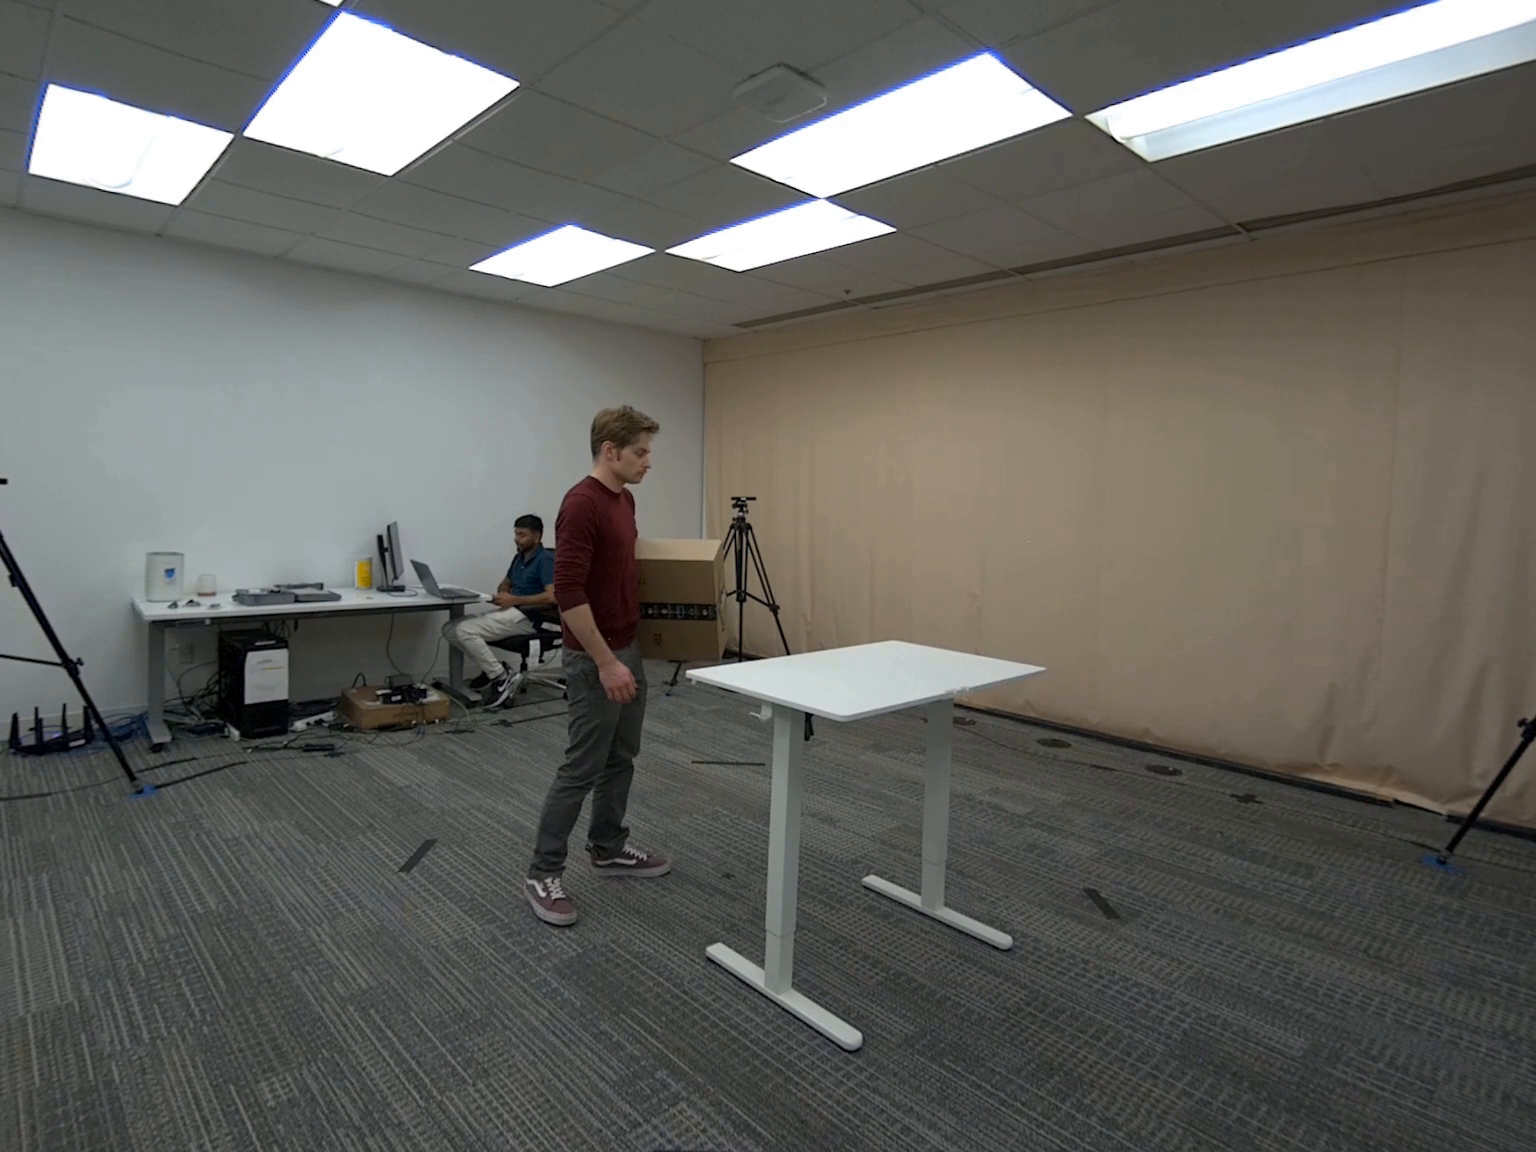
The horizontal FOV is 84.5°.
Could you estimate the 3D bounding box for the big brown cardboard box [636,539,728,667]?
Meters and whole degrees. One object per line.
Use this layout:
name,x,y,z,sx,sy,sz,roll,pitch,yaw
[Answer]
big brown cardboard box,-0.462,0.084,3.227,0.594,0.411,0.235,2,22,10
